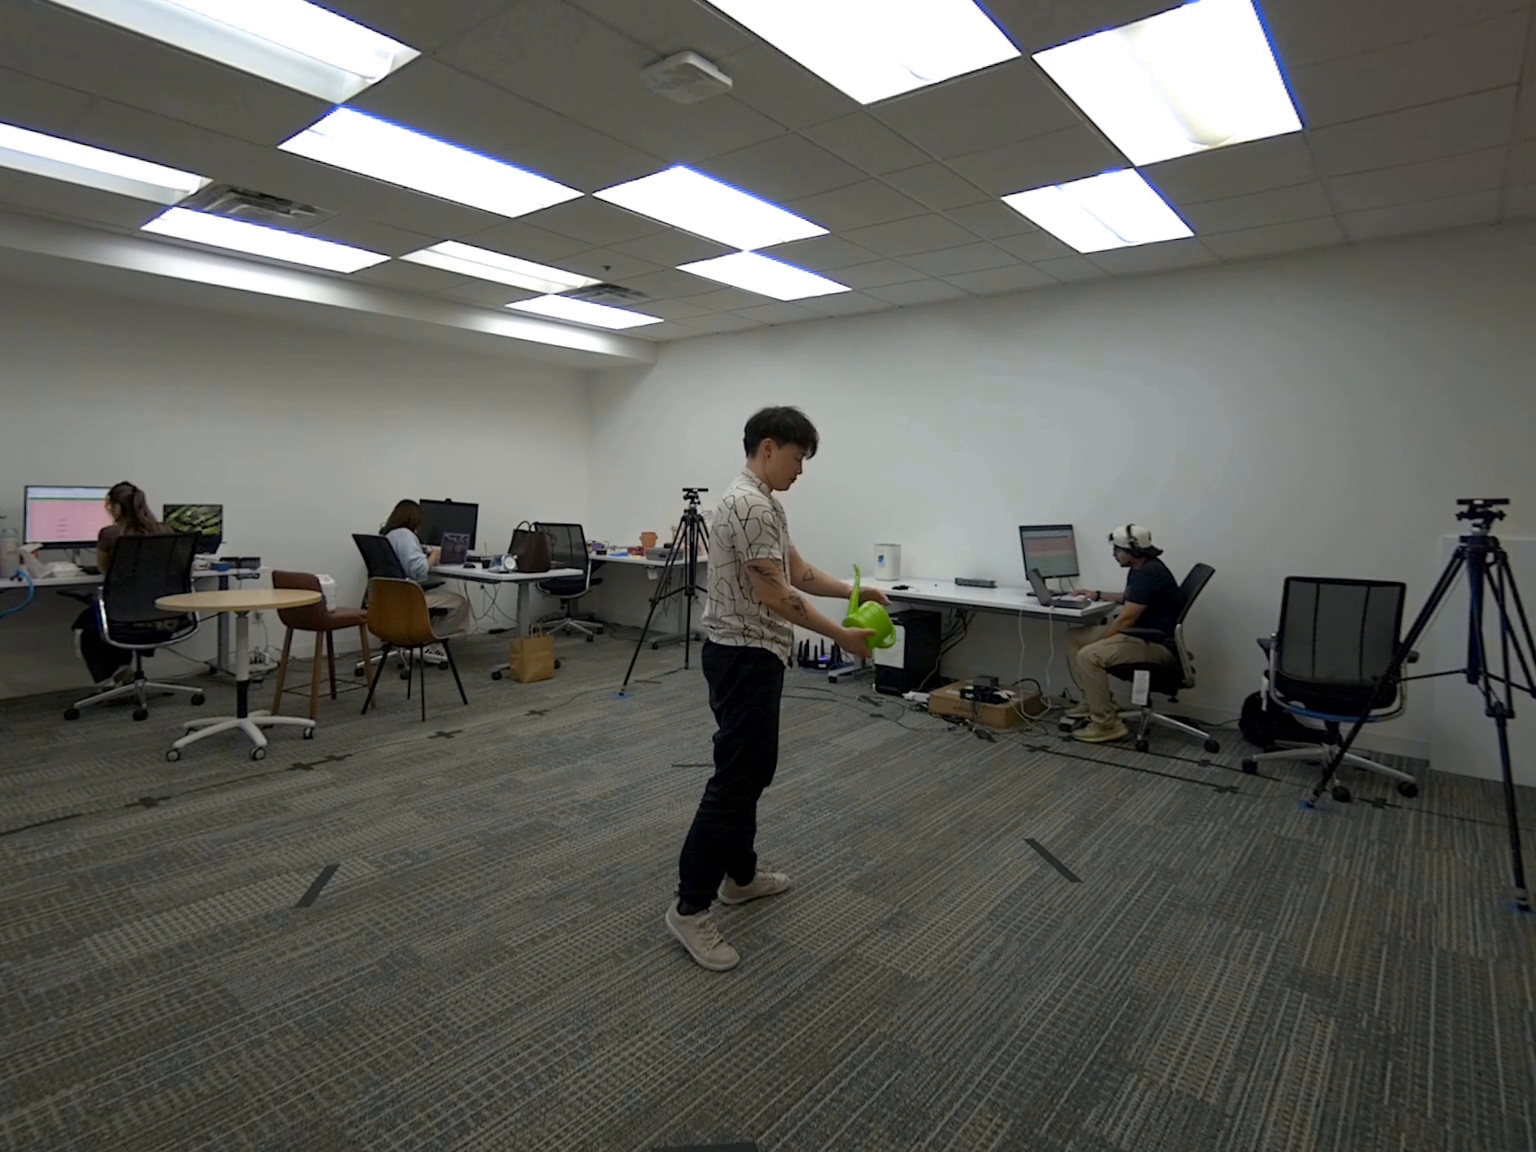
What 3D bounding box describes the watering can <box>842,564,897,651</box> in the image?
[{"bbox_3d":[0.291,0.122,2.726,0.174,0.283,0.097,-31,-15,-41],"label":"watering can"}]
